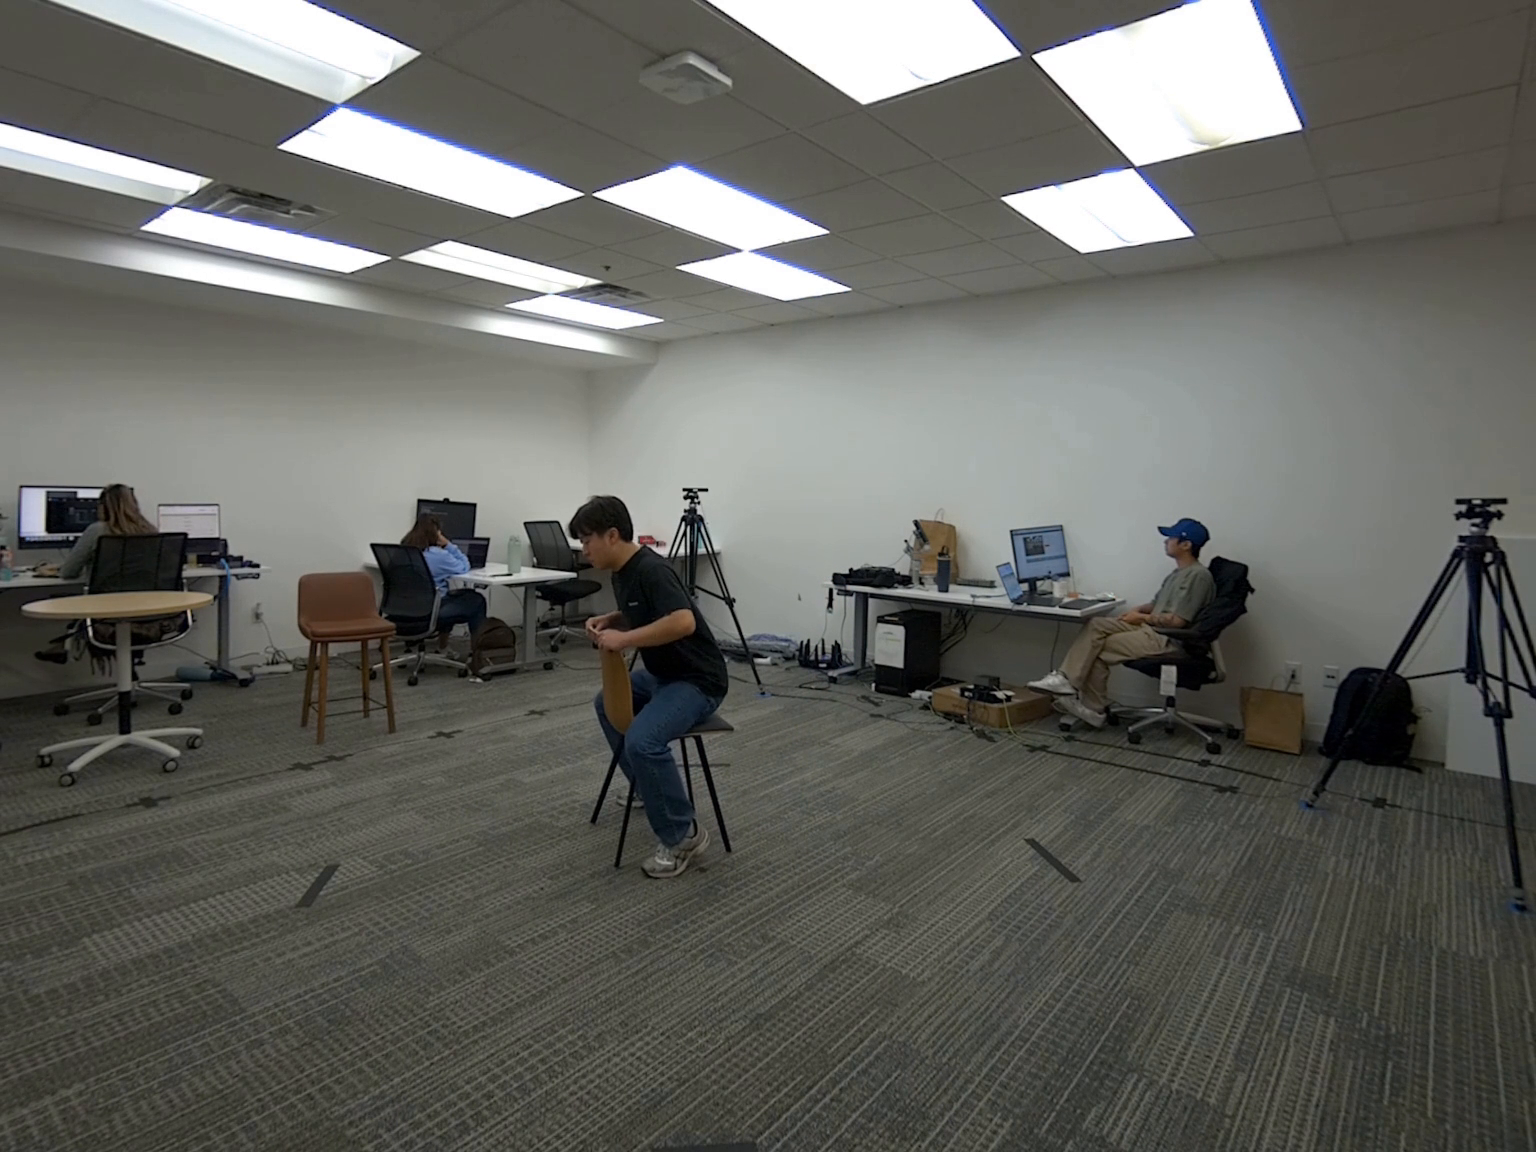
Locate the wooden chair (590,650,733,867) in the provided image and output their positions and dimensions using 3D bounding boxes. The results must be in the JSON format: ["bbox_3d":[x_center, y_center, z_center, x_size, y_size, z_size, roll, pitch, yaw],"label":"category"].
[{"bbox_3d":[-0.433,0.620,3.373,0.513,0.874,0.489,-4,4,-21],"label":"wooden chair"}]
